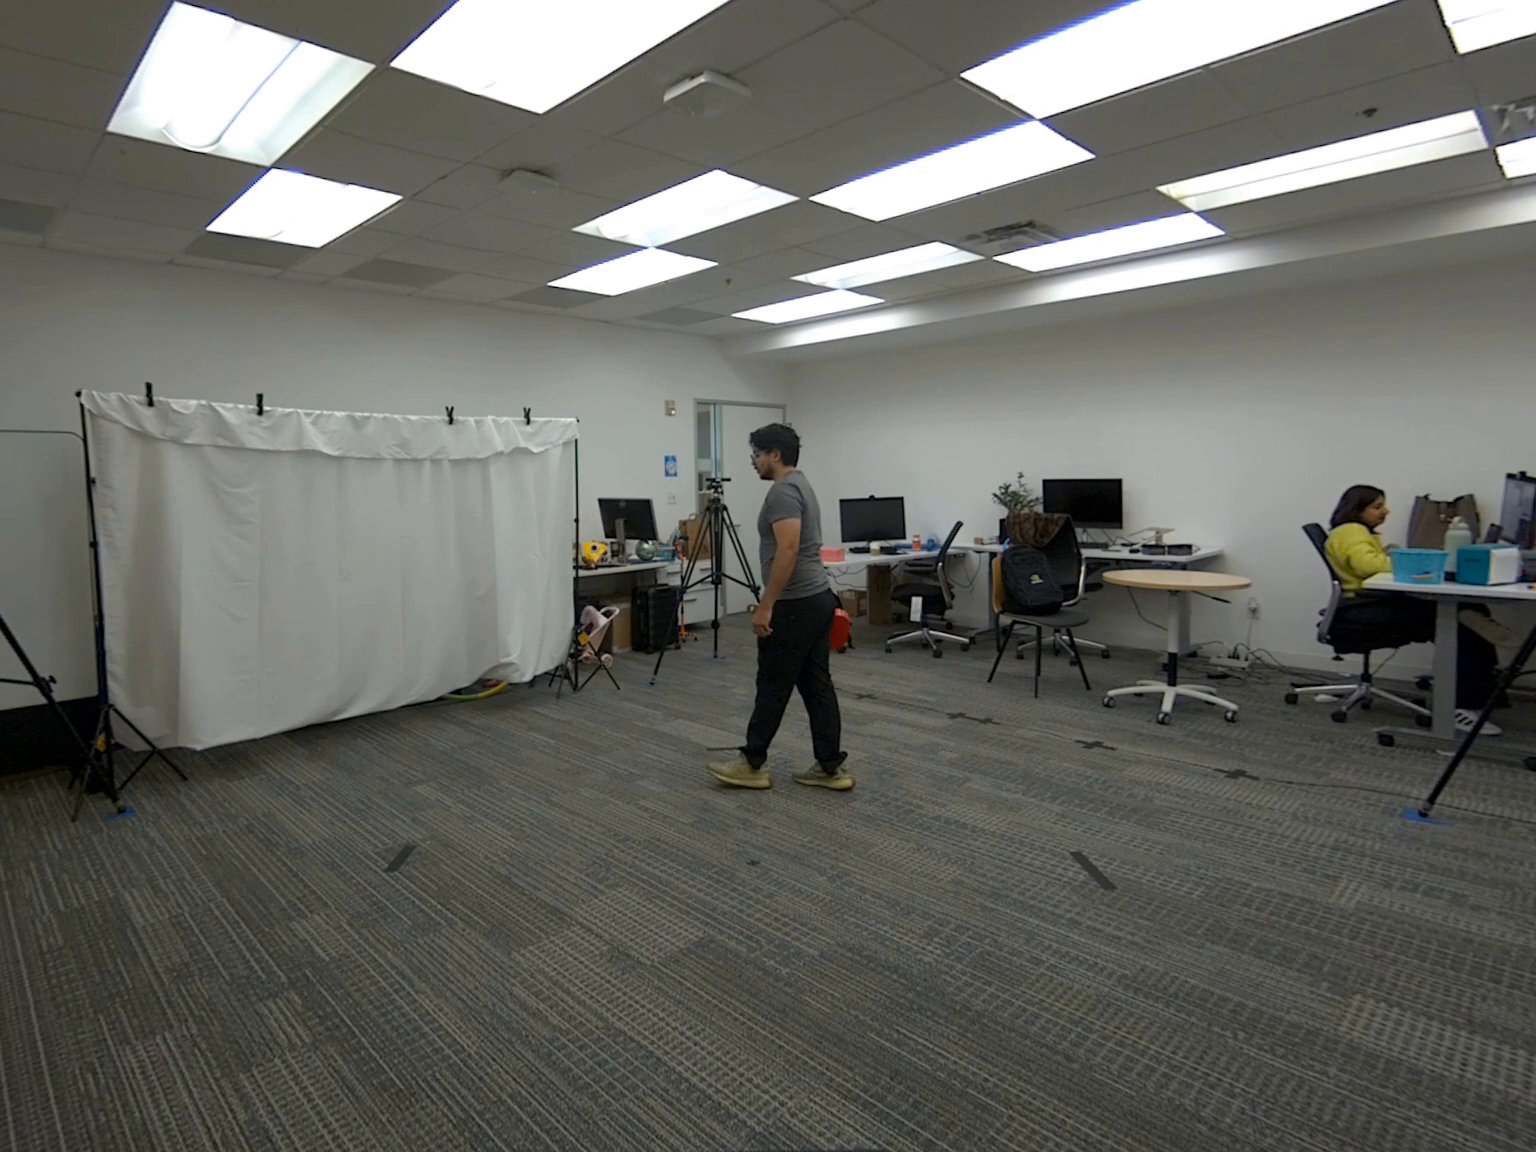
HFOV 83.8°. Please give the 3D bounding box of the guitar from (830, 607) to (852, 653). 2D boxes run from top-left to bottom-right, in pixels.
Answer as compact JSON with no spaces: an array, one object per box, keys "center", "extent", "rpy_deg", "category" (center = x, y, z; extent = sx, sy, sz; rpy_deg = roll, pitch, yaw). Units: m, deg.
[{"center":[0.139,0.241,4.122],"extent":[0.500,0.189,0.072],"rpy_deg":[4,25,5],"category":"guitar"}]
